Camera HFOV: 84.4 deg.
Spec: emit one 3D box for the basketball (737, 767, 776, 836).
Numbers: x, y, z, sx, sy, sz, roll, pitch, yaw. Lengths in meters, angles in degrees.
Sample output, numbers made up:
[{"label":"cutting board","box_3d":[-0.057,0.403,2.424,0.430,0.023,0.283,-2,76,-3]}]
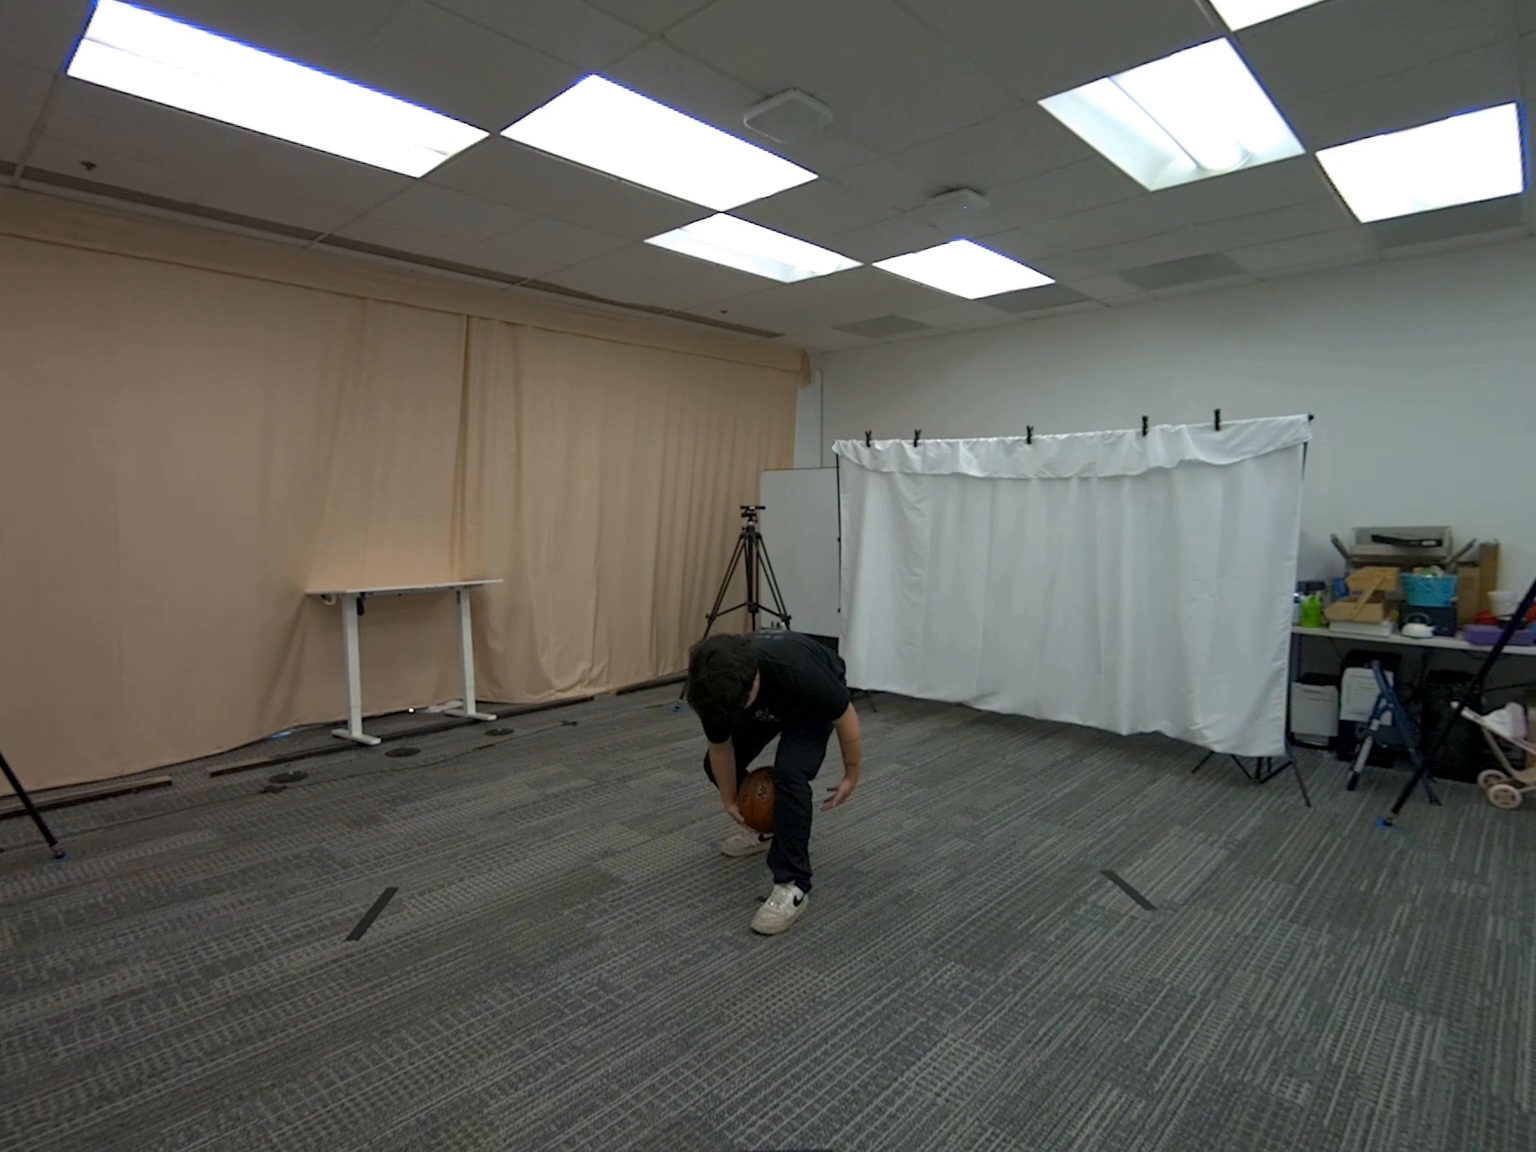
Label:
[{"label":"basketball","box_3d":[0.024,0.815,3.083,0.236,0.235,0.237,0,4,-2]}]
